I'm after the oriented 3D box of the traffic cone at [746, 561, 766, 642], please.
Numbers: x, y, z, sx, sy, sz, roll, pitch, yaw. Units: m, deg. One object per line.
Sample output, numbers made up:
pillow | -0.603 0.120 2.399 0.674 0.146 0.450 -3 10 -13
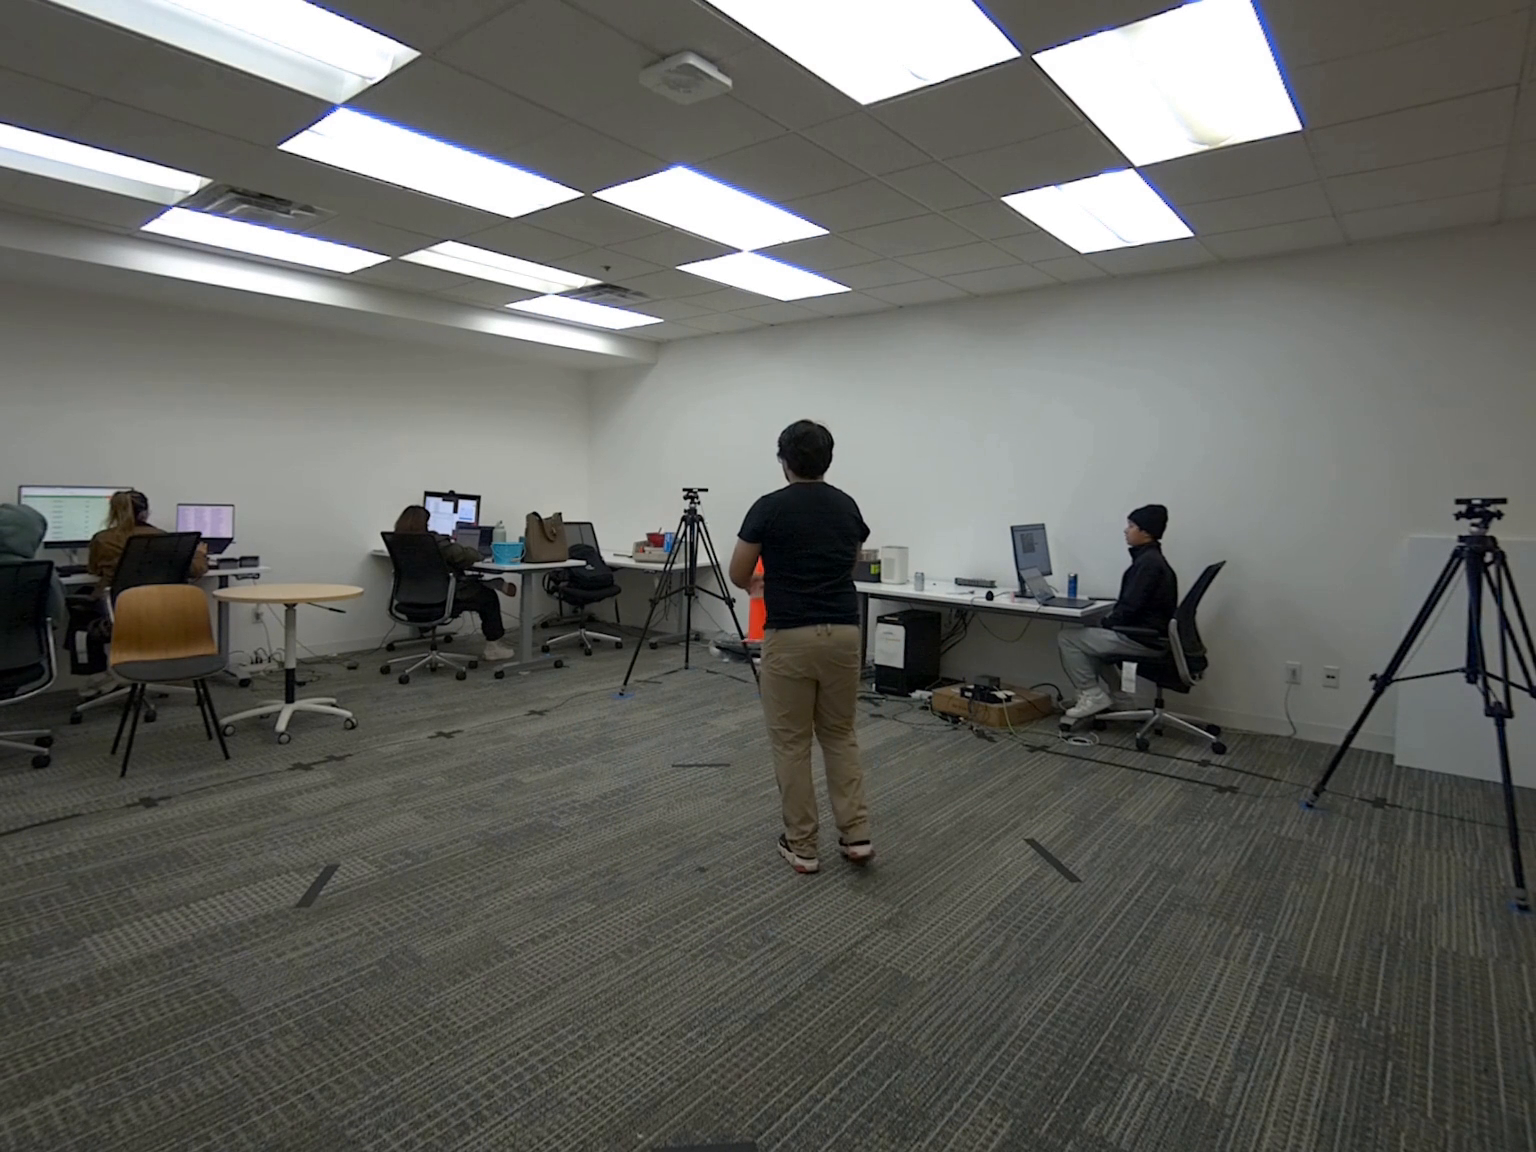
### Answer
traffic cone | -0.026 0.069 3.547 0.206 0.386 0.201 -6 -5 11
